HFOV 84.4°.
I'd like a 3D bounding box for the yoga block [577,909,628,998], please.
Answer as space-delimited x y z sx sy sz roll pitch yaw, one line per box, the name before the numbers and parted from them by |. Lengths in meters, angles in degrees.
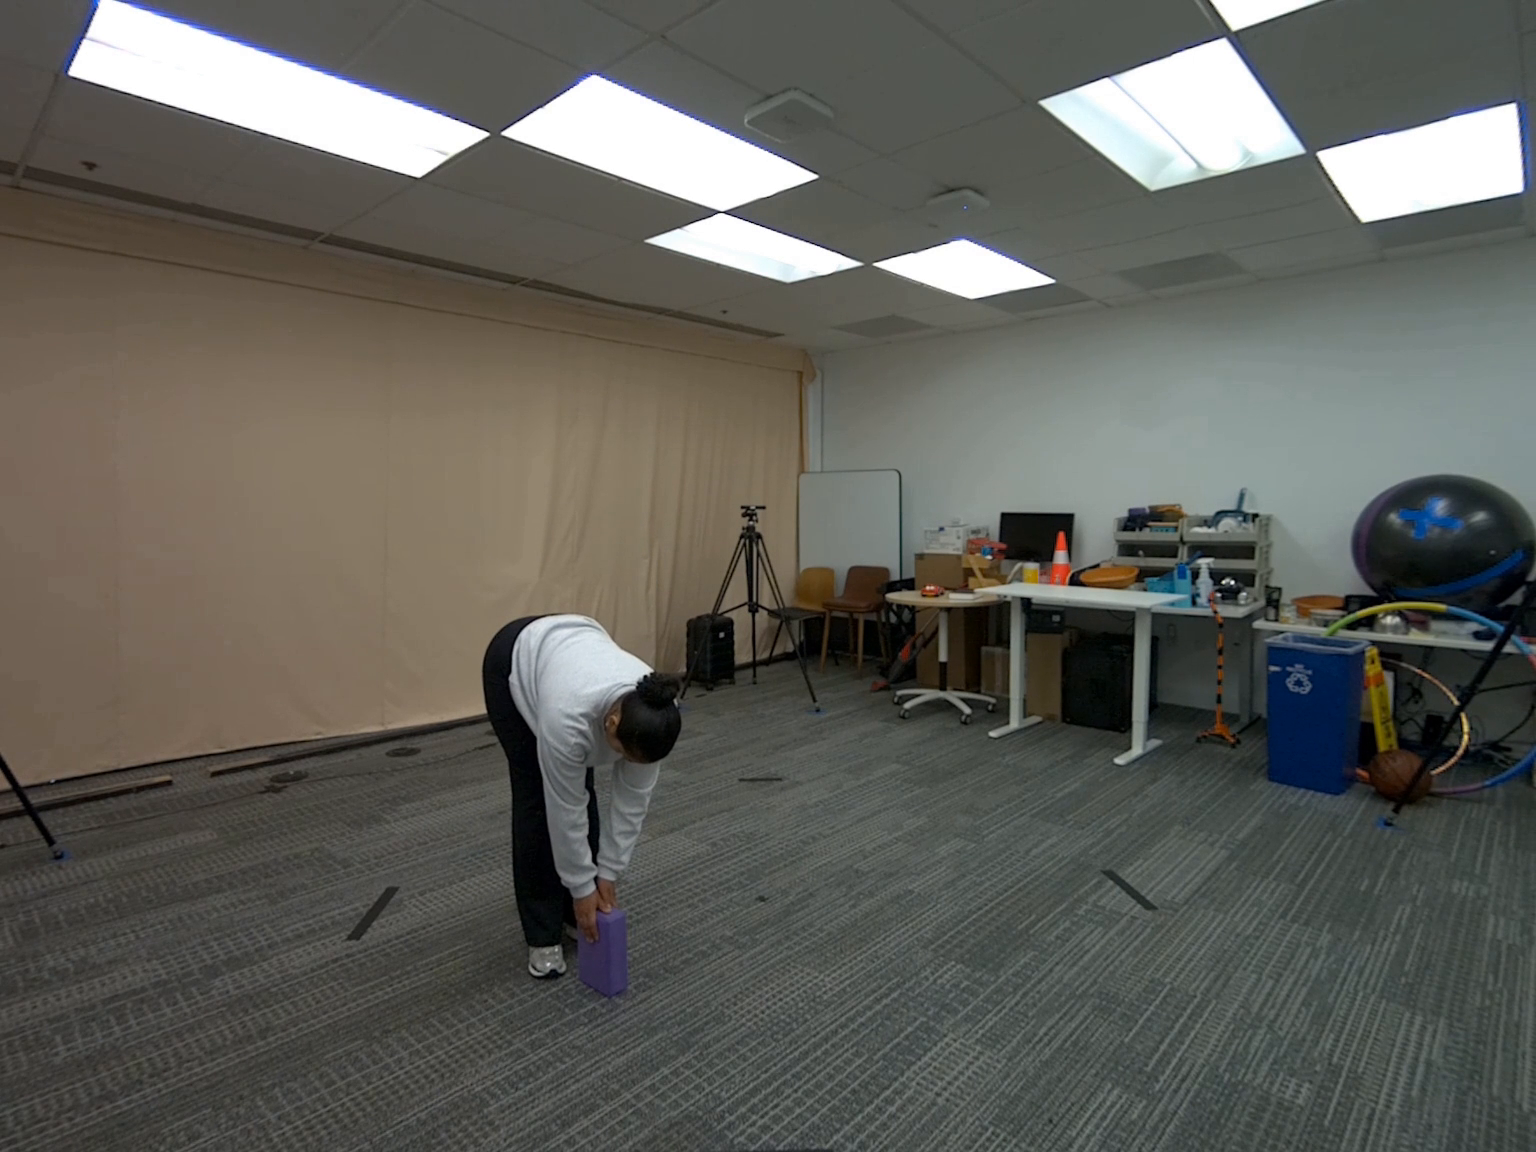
yoga block | -0.480 1.076 2.444 0.154 0.229 0.074 4 5 43
